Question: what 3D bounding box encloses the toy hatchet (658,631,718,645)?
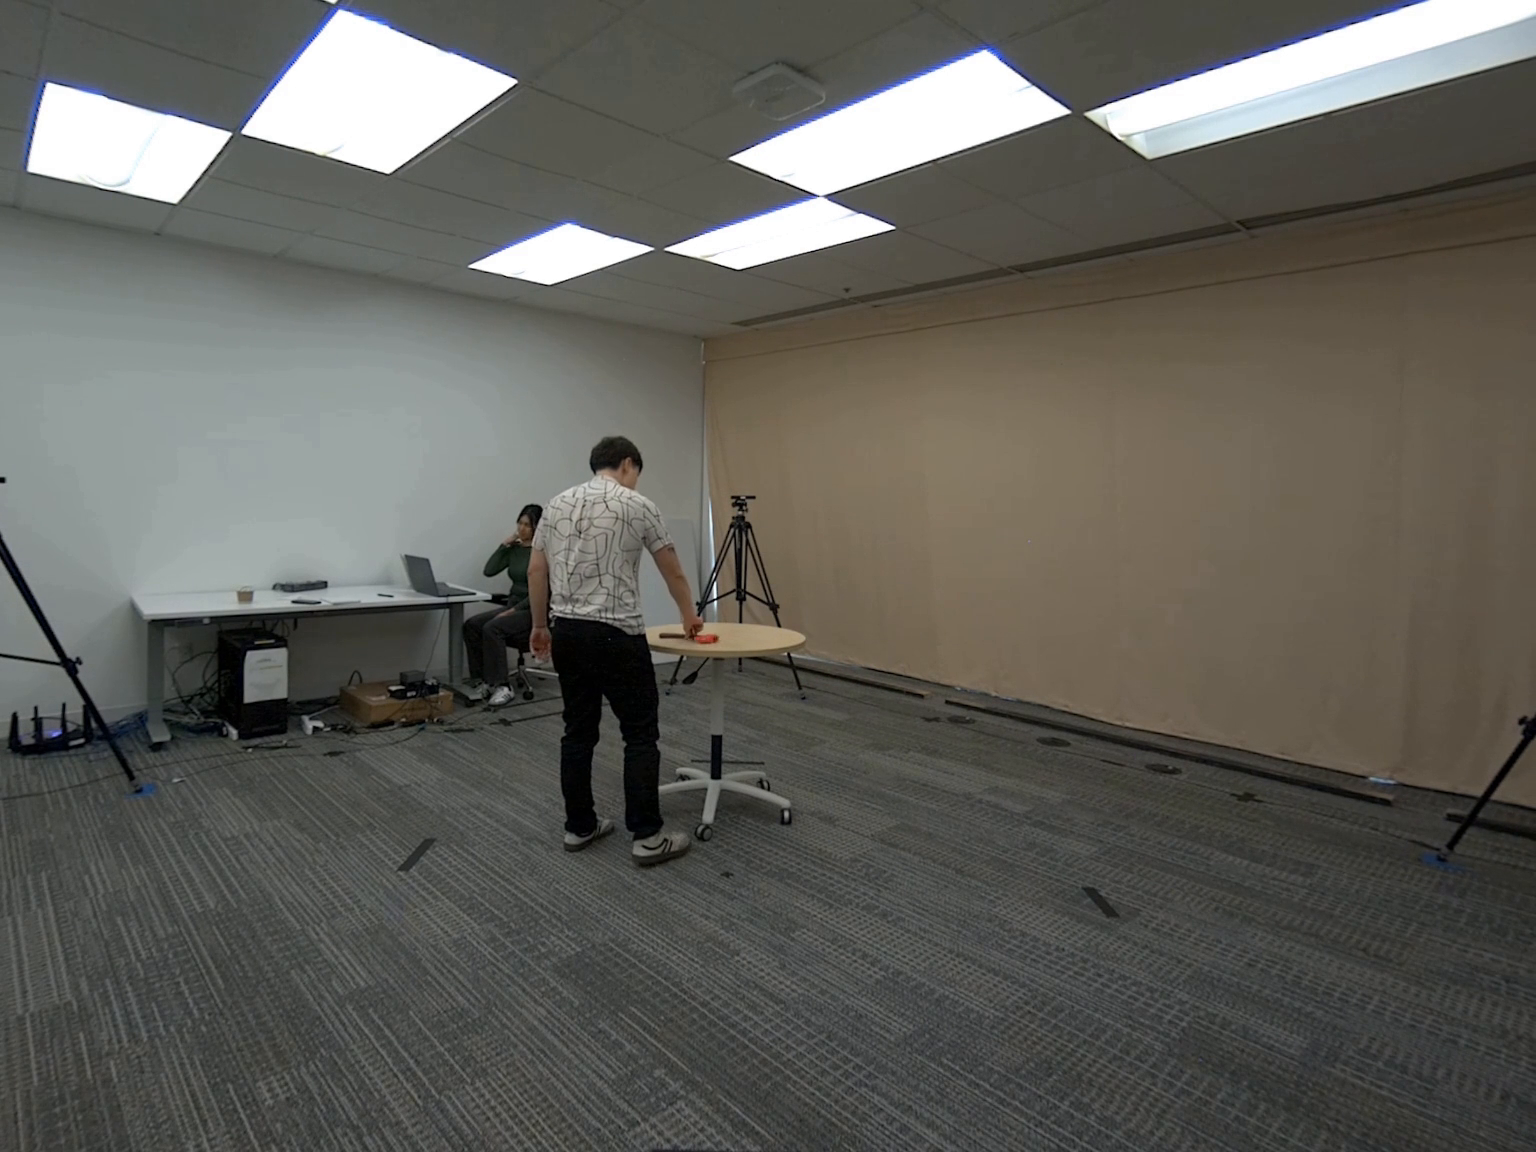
[{"bbox_3d":[-0.350,0.264,3.563,0.271,0.029,0.130,1,4,6],"label":"toy hatchet"}]
